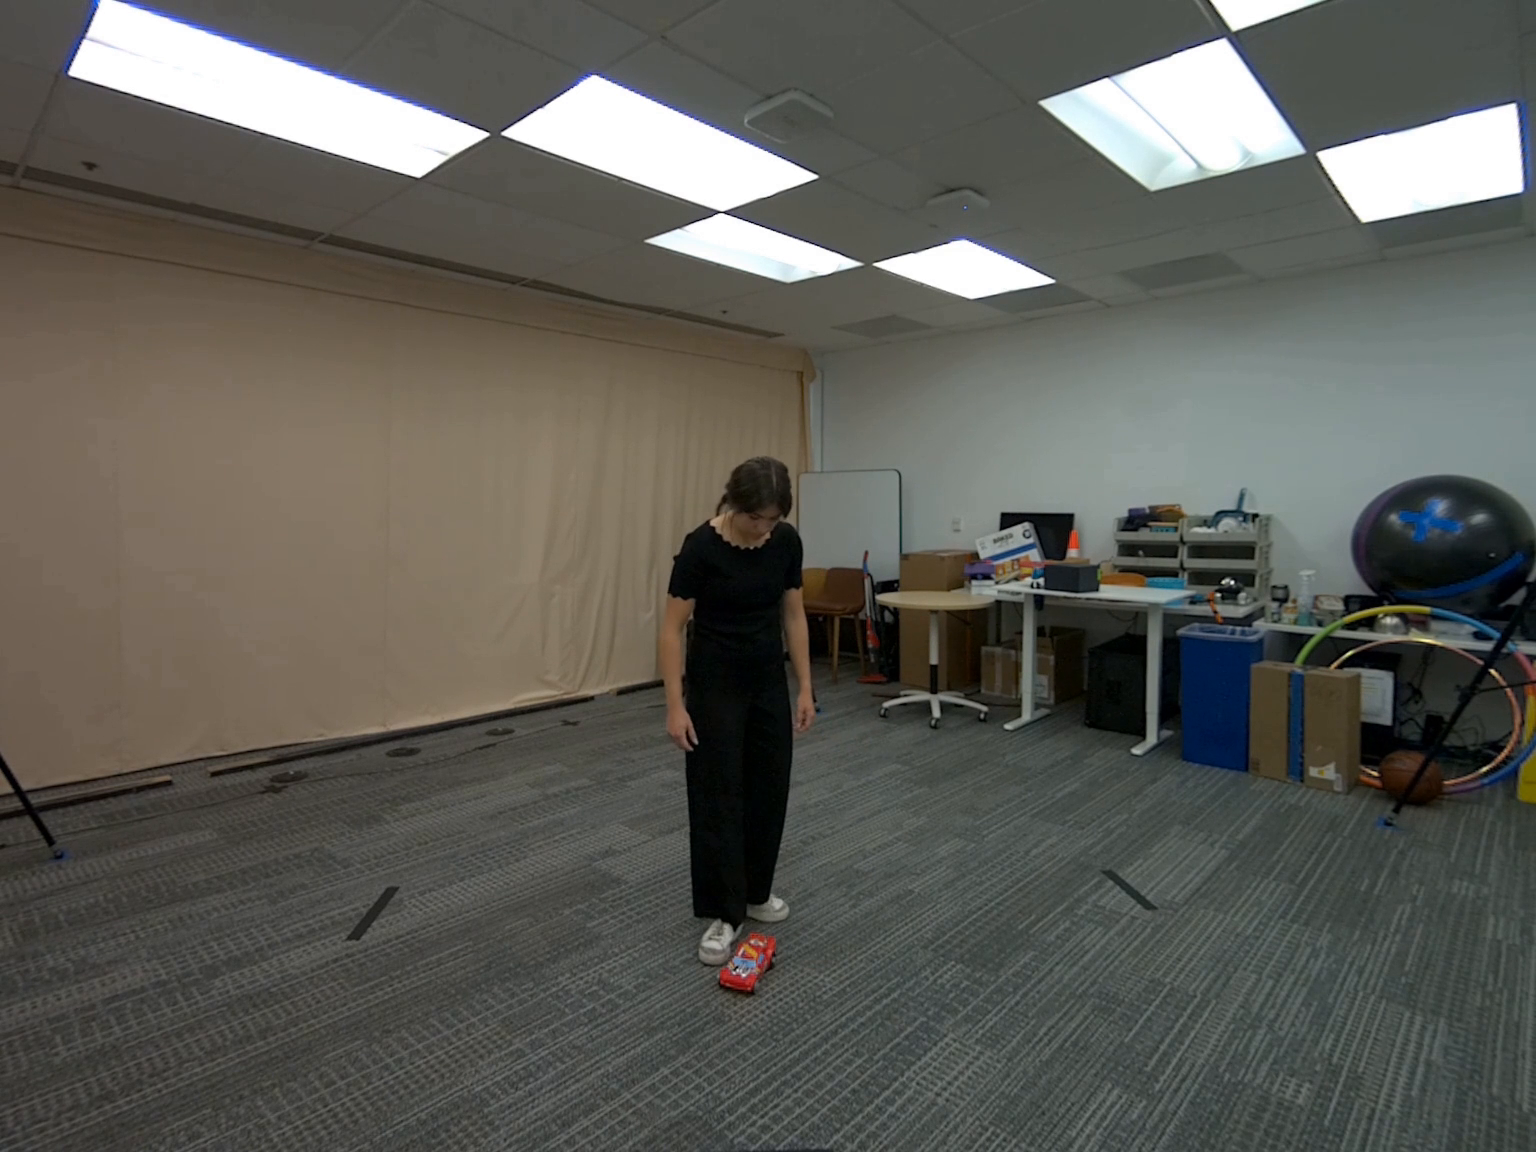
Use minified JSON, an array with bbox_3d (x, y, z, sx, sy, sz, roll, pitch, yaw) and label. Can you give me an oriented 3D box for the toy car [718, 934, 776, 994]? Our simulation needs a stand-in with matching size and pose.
[{"bbox_3d":[-0.053,1.146,2.509,0.133,0.082,0.251,1,16,21],"label":"toy car"}]
